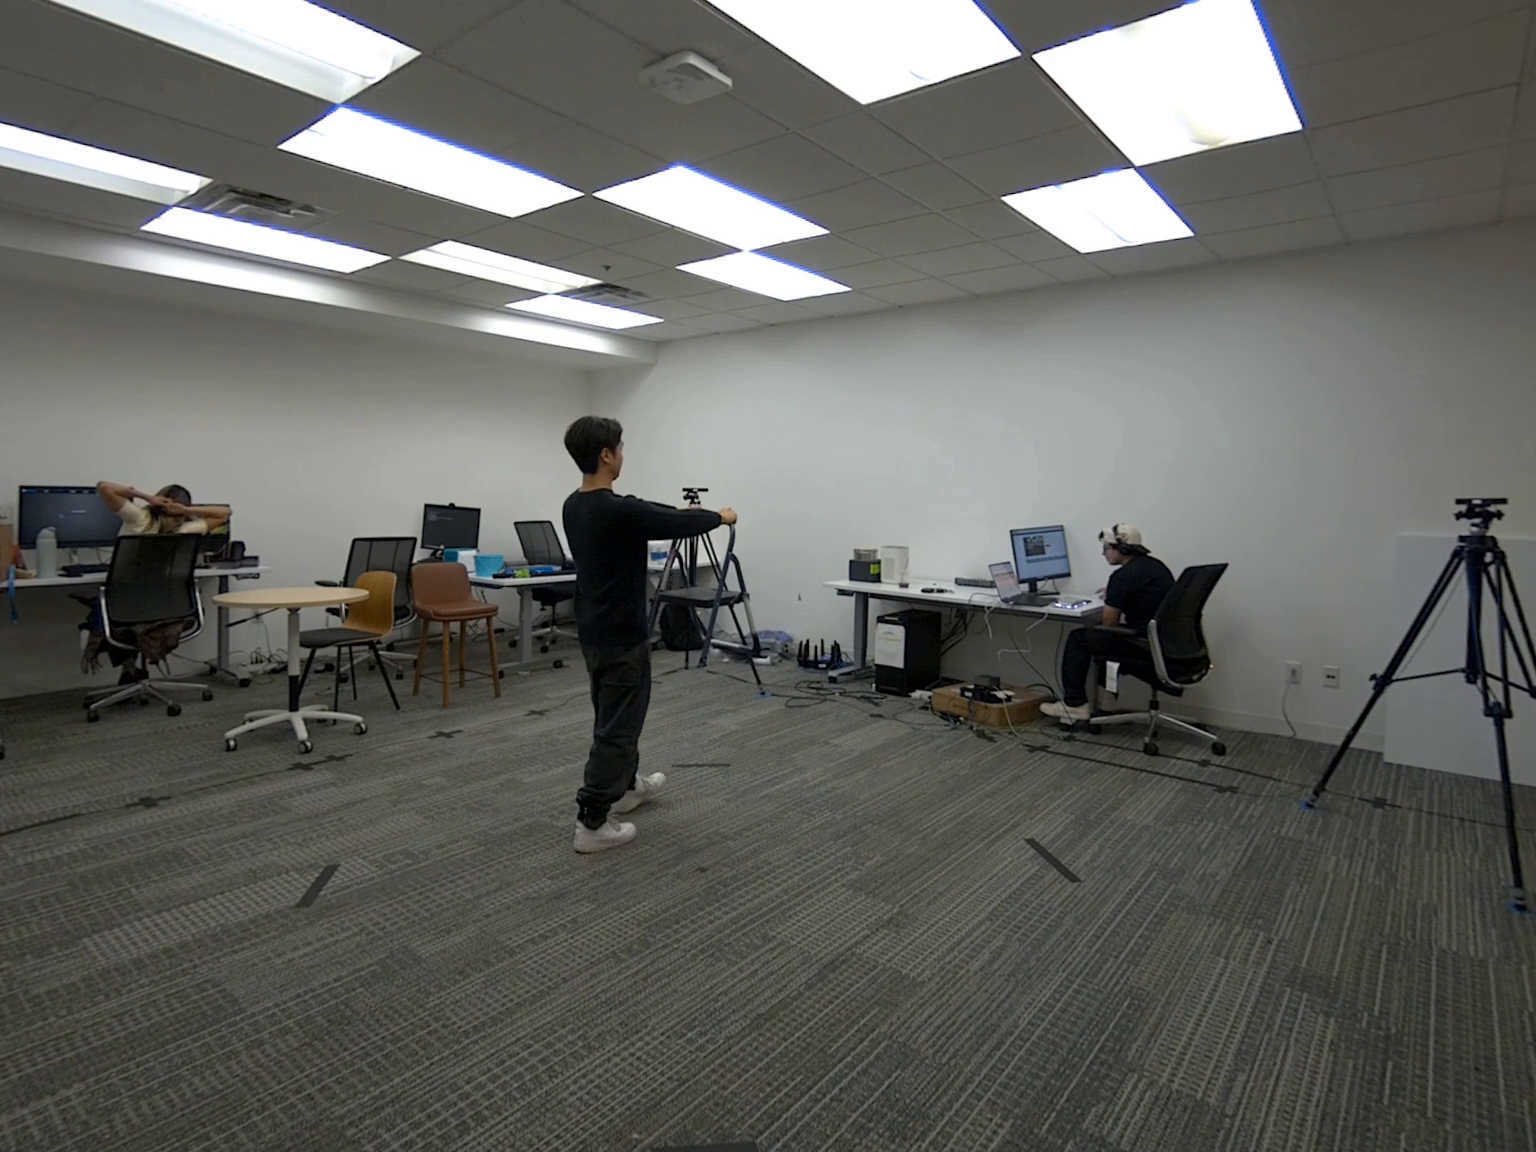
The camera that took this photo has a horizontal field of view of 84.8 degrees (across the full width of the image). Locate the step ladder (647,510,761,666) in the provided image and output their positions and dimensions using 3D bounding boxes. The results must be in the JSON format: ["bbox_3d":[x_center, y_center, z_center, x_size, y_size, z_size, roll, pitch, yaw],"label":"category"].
[{"bbox_3d":[-0.309,0.027,3.637,0.339,0.604,0.445,-3,5,-41],"label":"step ladder"}]
